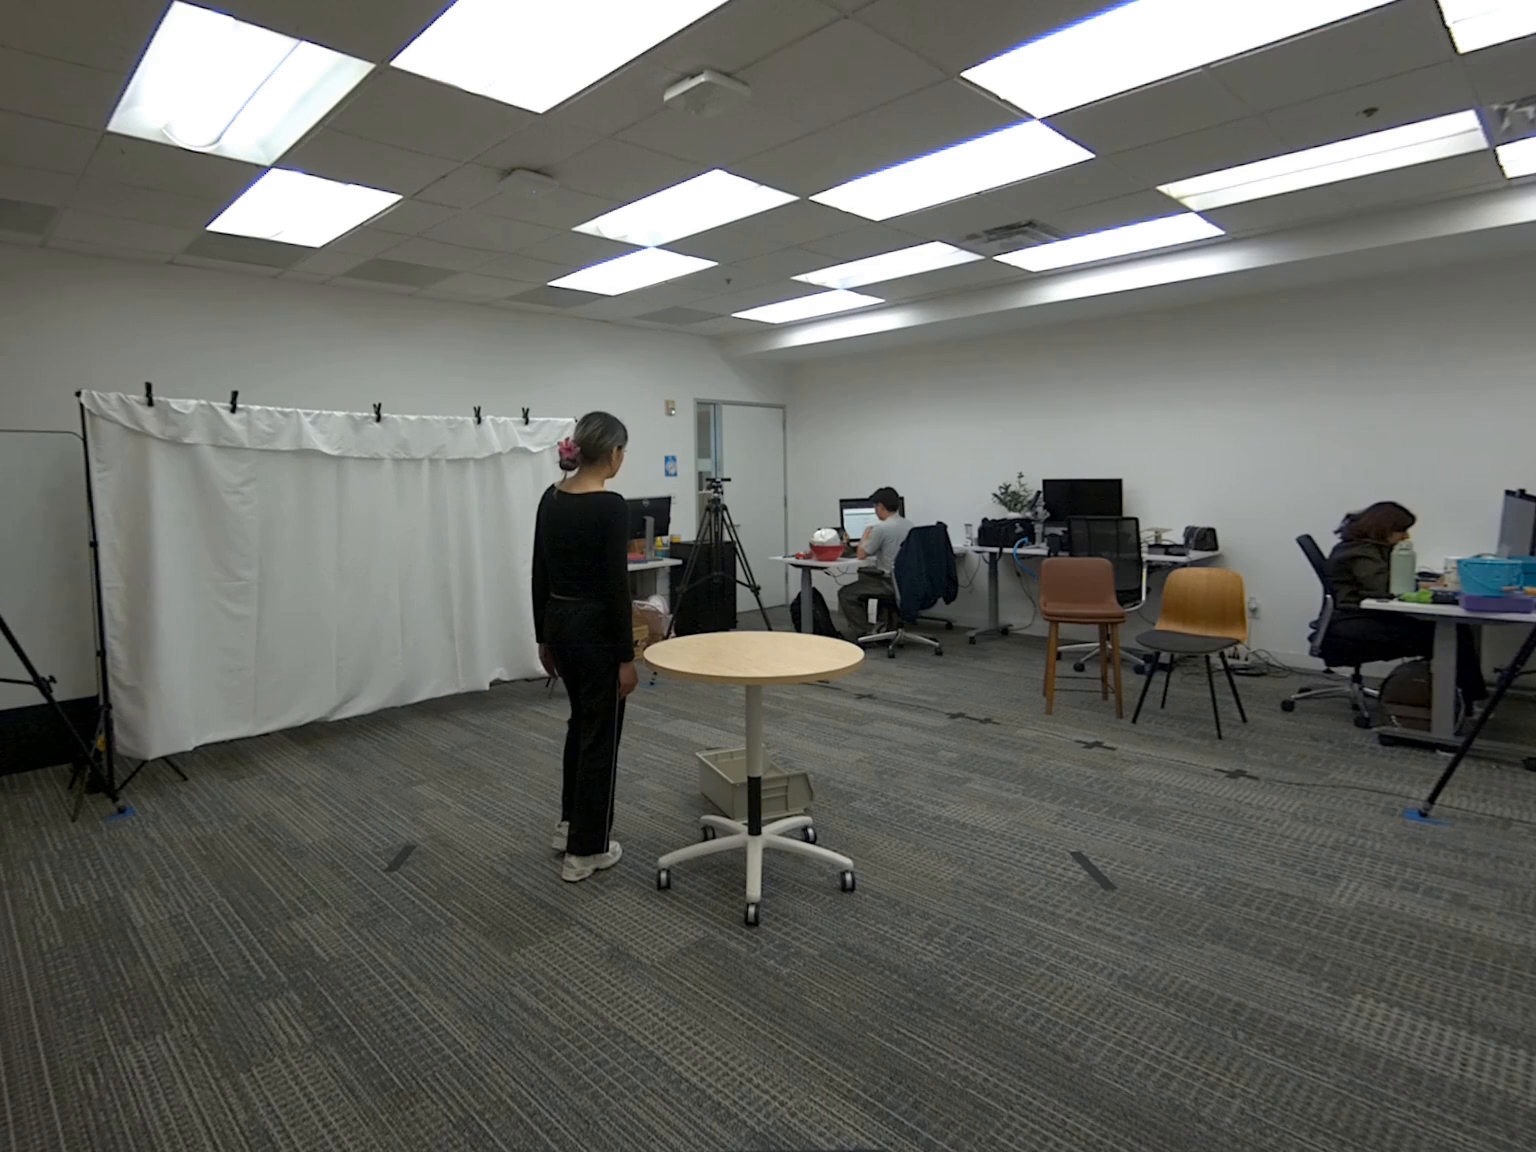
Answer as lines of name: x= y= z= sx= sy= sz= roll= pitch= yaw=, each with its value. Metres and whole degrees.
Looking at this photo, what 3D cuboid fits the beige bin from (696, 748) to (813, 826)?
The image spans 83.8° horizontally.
beige bin: x=-0.062 y=0.888 z=3.695 sx=0.370 sy=0.188 sz=0.433 roll=-5 pitch=8 yaw=-24
